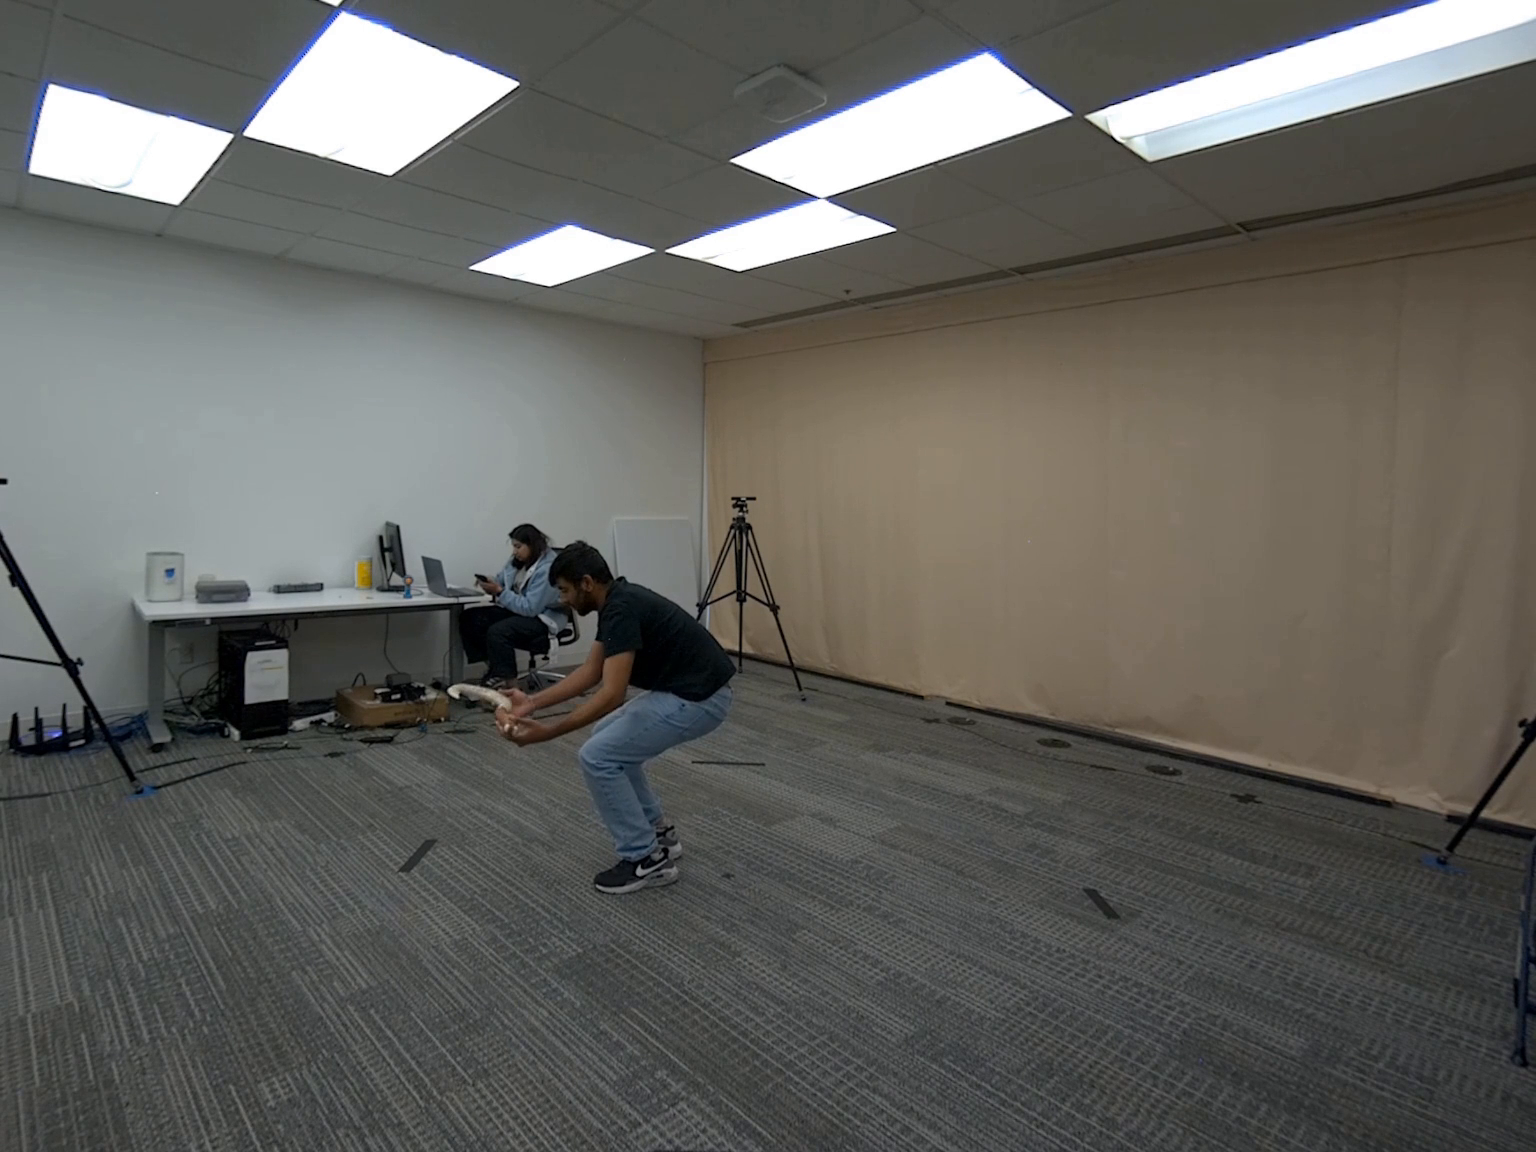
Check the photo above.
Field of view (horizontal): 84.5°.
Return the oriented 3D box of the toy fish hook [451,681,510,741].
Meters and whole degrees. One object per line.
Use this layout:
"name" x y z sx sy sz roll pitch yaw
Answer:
"toy fish hook" -0.929 0.445 2.812 0.220 0.048 0.515 14 -1 -21
